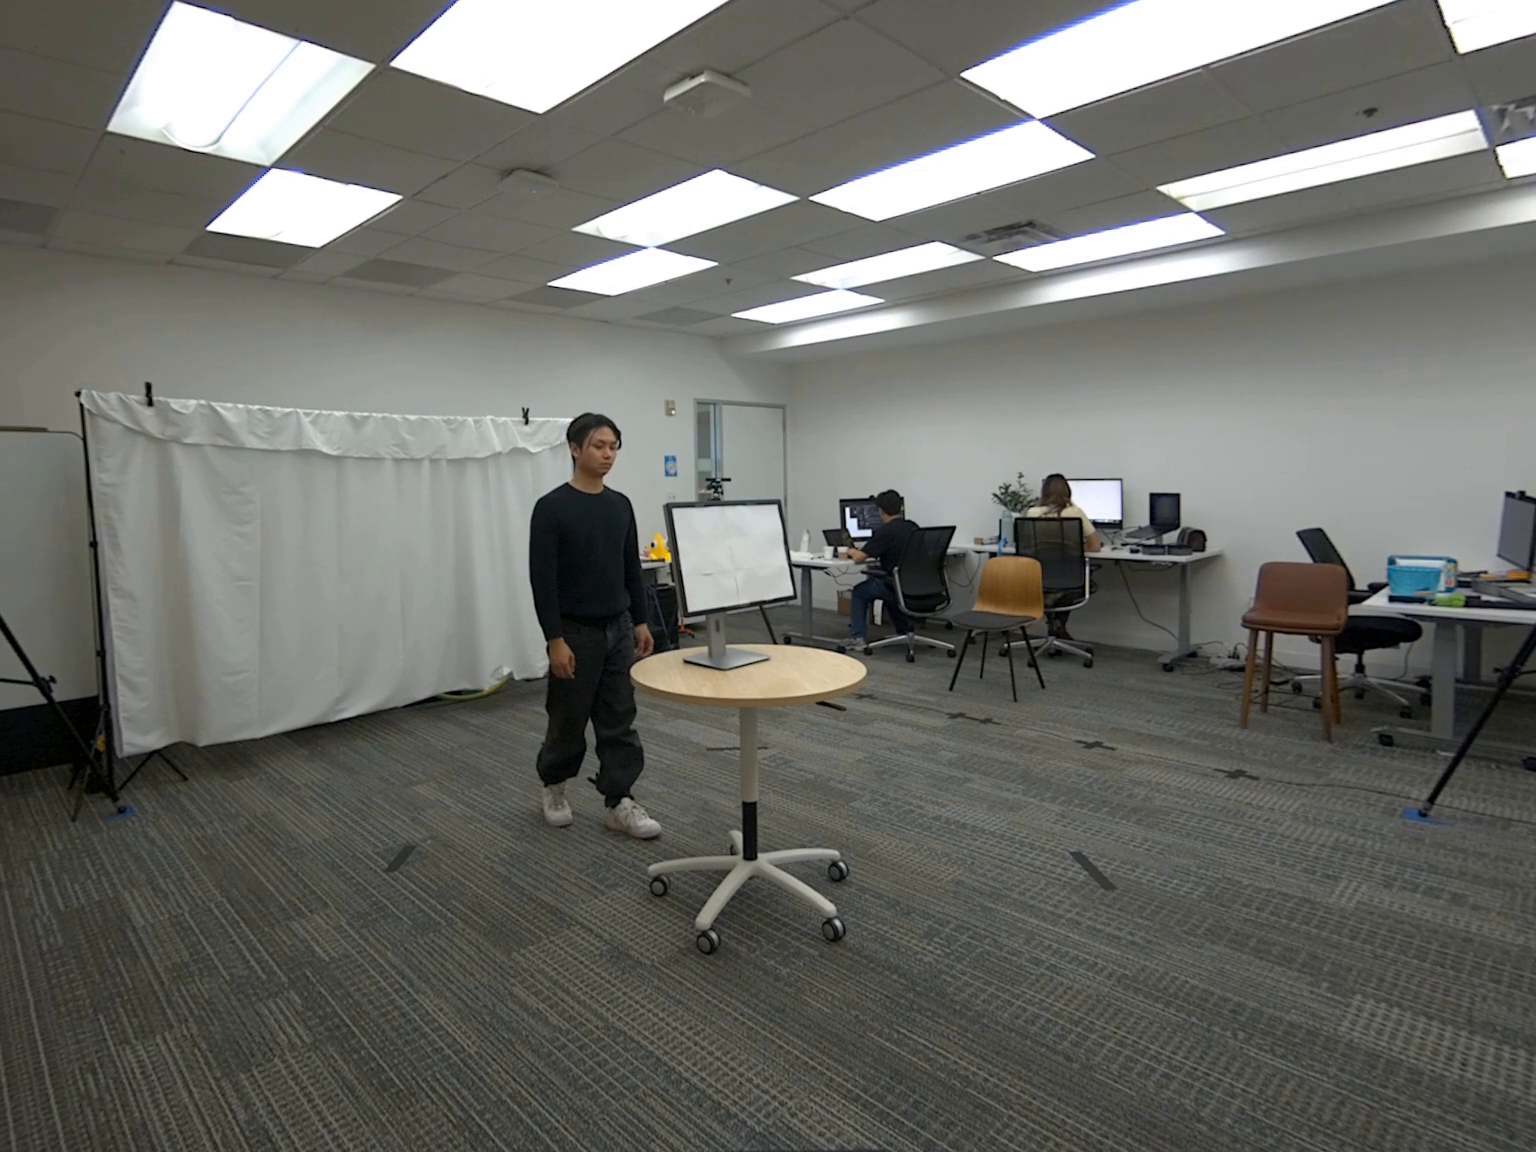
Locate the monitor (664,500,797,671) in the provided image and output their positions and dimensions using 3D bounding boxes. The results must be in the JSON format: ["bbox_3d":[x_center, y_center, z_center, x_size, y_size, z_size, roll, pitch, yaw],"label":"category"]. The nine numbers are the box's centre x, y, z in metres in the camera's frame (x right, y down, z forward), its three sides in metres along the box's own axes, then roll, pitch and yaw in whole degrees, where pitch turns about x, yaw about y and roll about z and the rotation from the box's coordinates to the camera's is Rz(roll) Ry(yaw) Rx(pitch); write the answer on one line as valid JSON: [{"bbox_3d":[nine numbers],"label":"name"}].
[{"bbox_3d":[-0.139,0.023,2.884,0.193,0.520,0.525,5,7,38],"label":"monitor"}]
